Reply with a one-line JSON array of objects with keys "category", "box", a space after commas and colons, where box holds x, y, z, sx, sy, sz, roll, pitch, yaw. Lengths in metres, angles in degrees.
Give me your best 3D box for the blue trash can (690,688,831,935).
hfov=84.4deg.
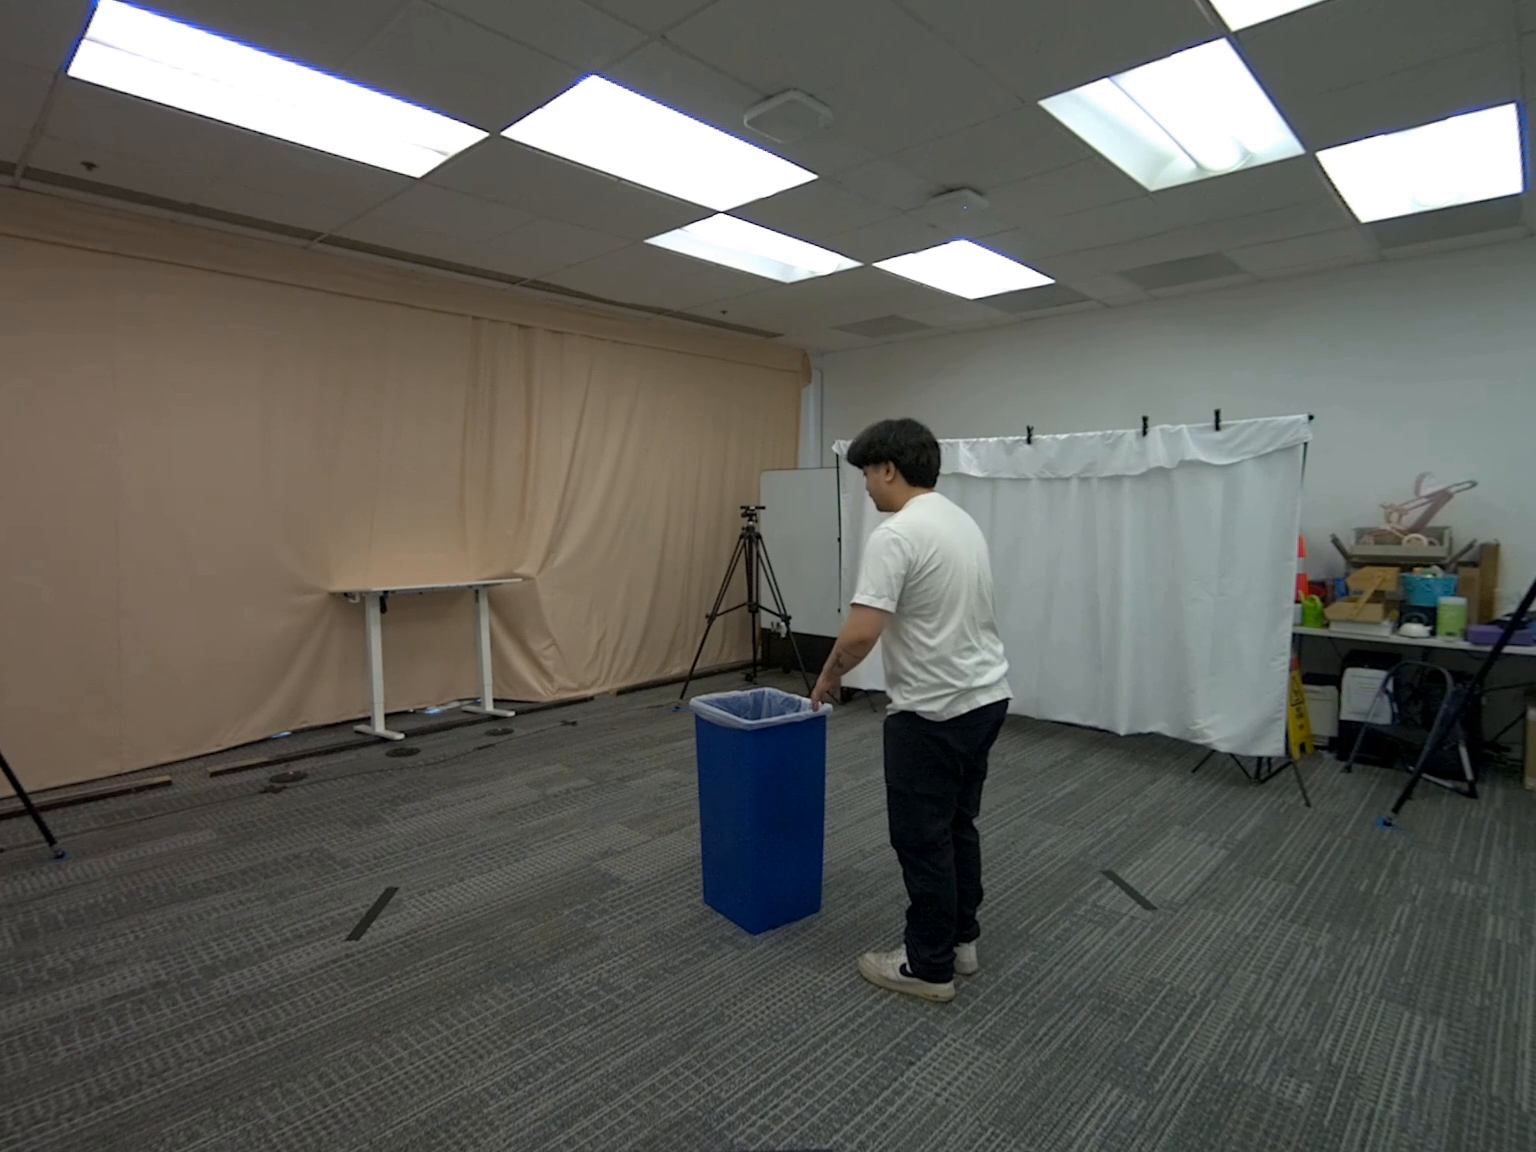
[{"category": "blue trash can", "box": [-0.027, 0.791, 2.906, 0.363, 0.712, 0.390, -2, 4, -37]}]
